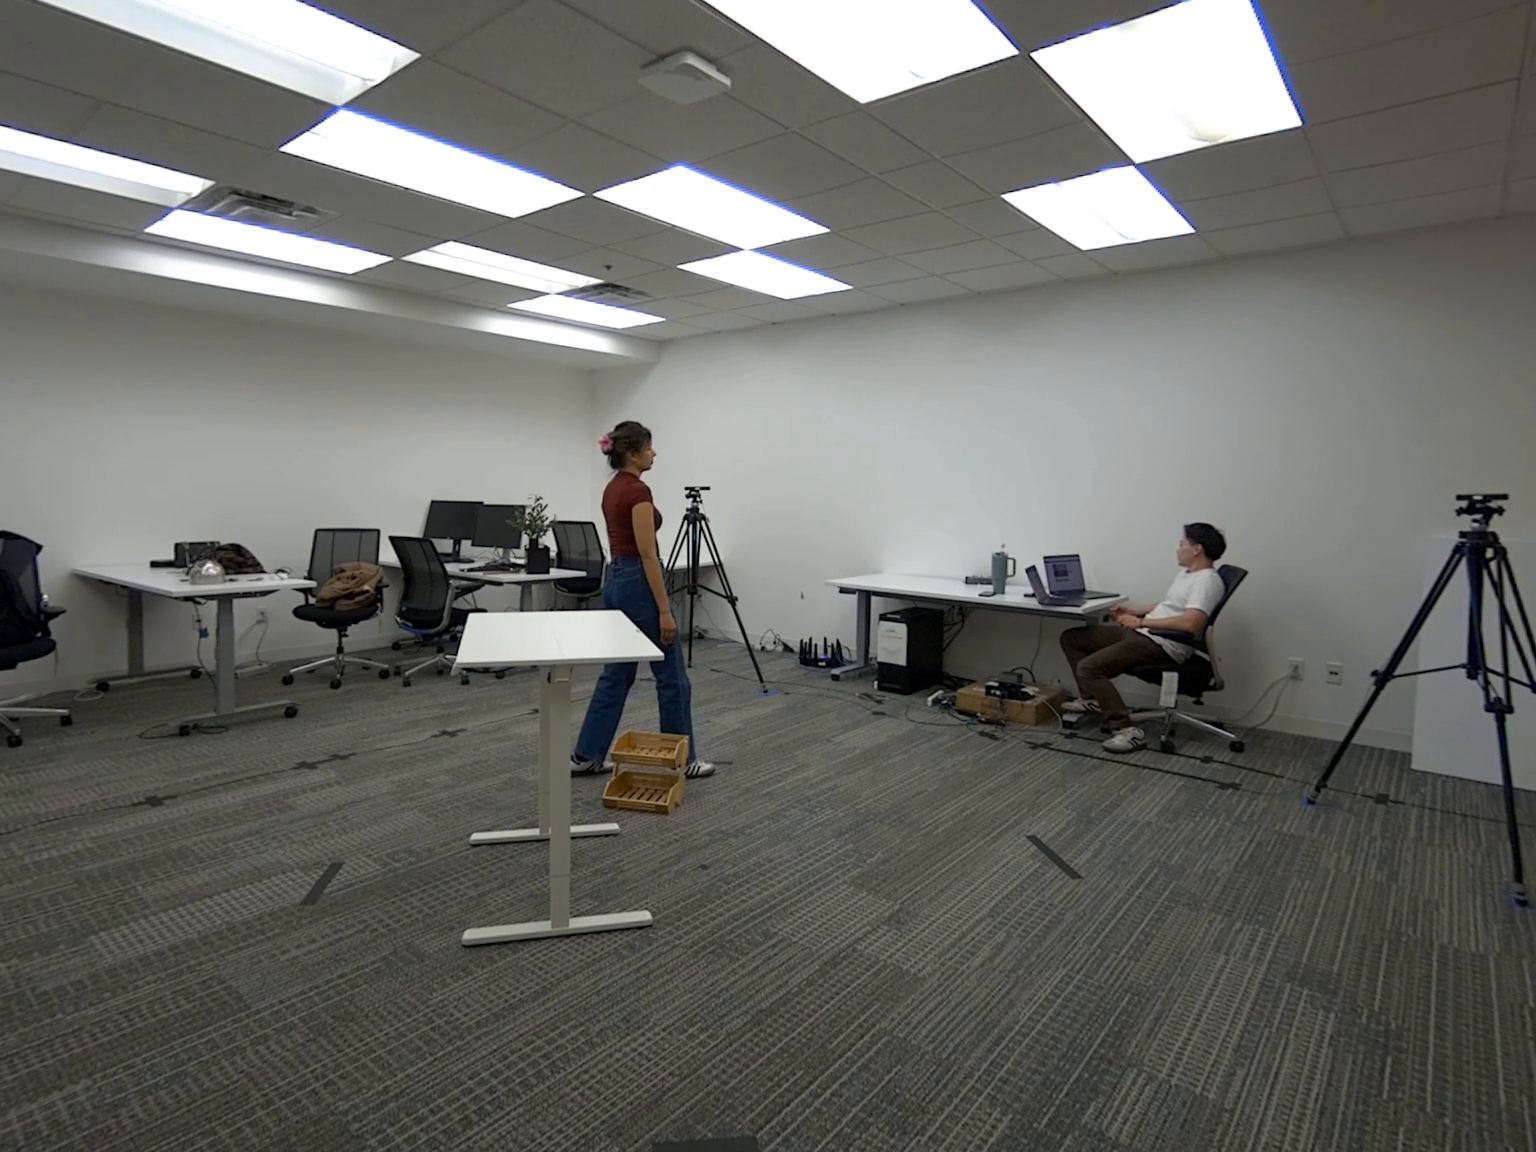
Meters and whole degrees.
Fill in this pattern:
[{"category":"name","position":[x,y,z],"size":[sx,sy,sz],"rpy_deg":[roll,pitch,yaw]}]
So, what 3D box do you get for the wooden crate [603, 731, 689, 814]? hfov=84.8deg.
[{"category":"wooden crate","position":[-0.552,0.862,3.780],"size":[0.329,0.272,0.298],"rpy_deg":[2,4,13]}]
